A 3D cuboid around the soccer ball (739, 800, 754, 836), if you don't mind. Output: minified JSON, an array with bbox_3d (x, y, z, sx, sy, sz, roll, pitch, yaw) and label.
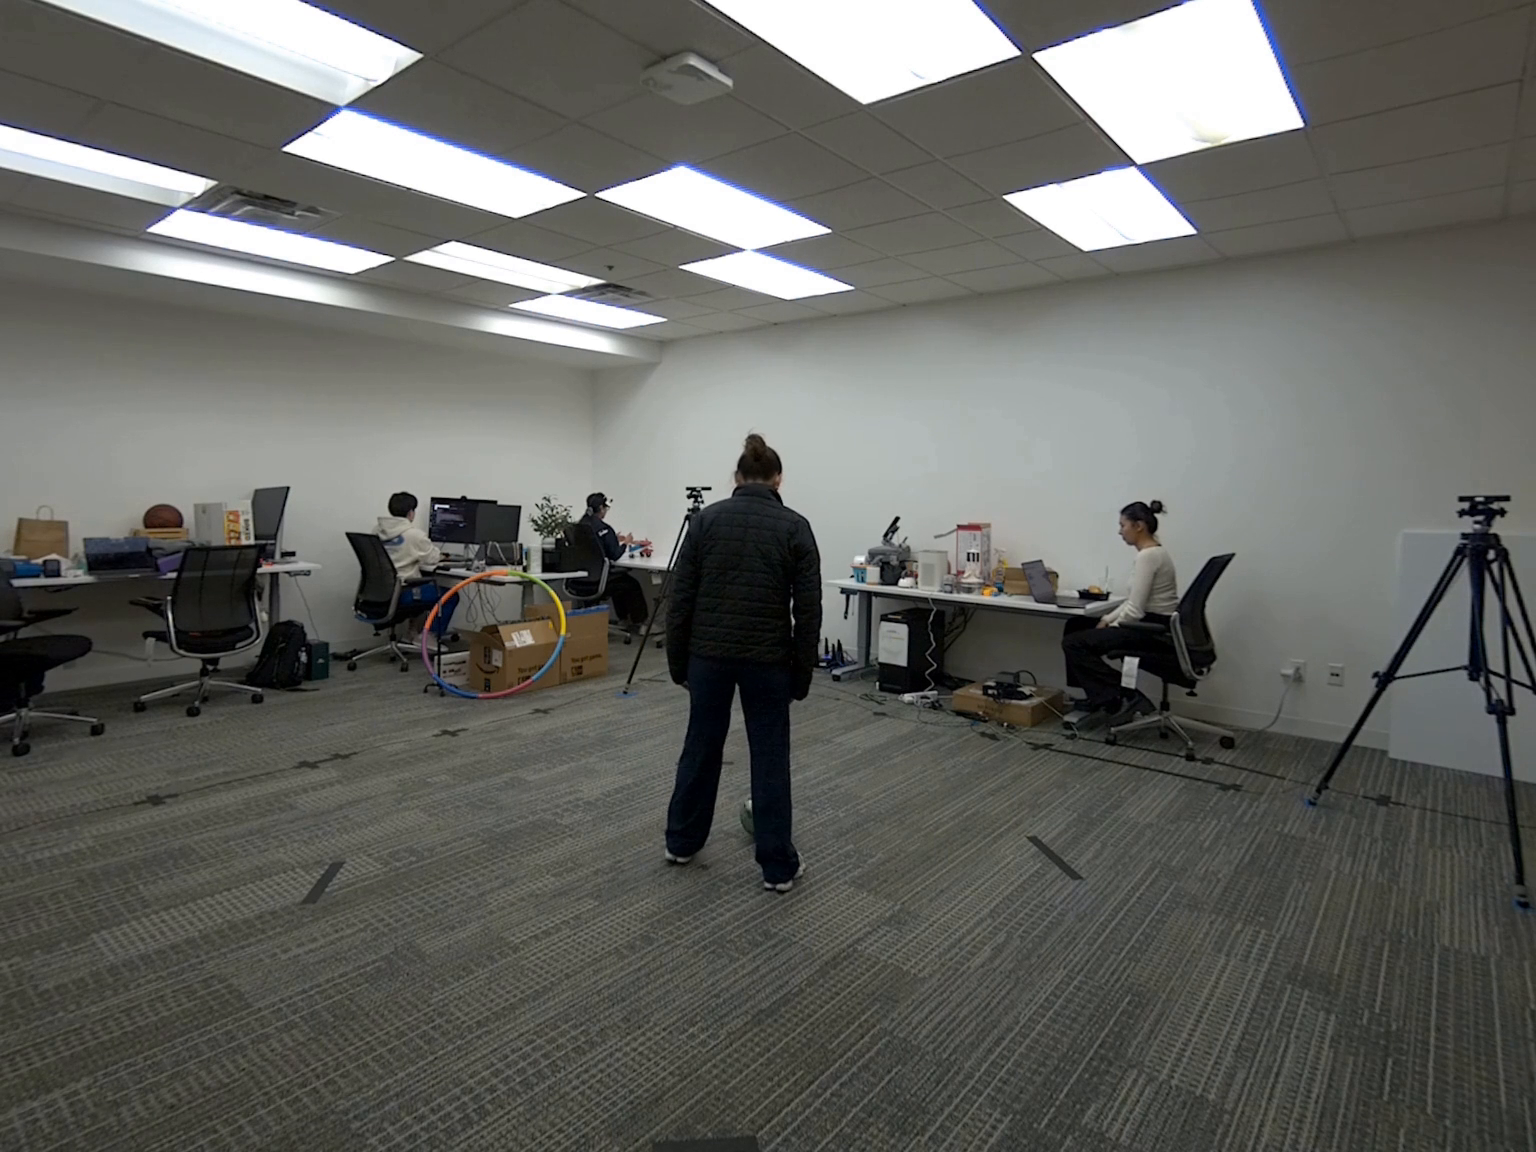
[{"bbox_3d":[-0.020,0.940,3.385,0.187,0.187,0.188,1,4,-2],"label":"soccer ball"}]
